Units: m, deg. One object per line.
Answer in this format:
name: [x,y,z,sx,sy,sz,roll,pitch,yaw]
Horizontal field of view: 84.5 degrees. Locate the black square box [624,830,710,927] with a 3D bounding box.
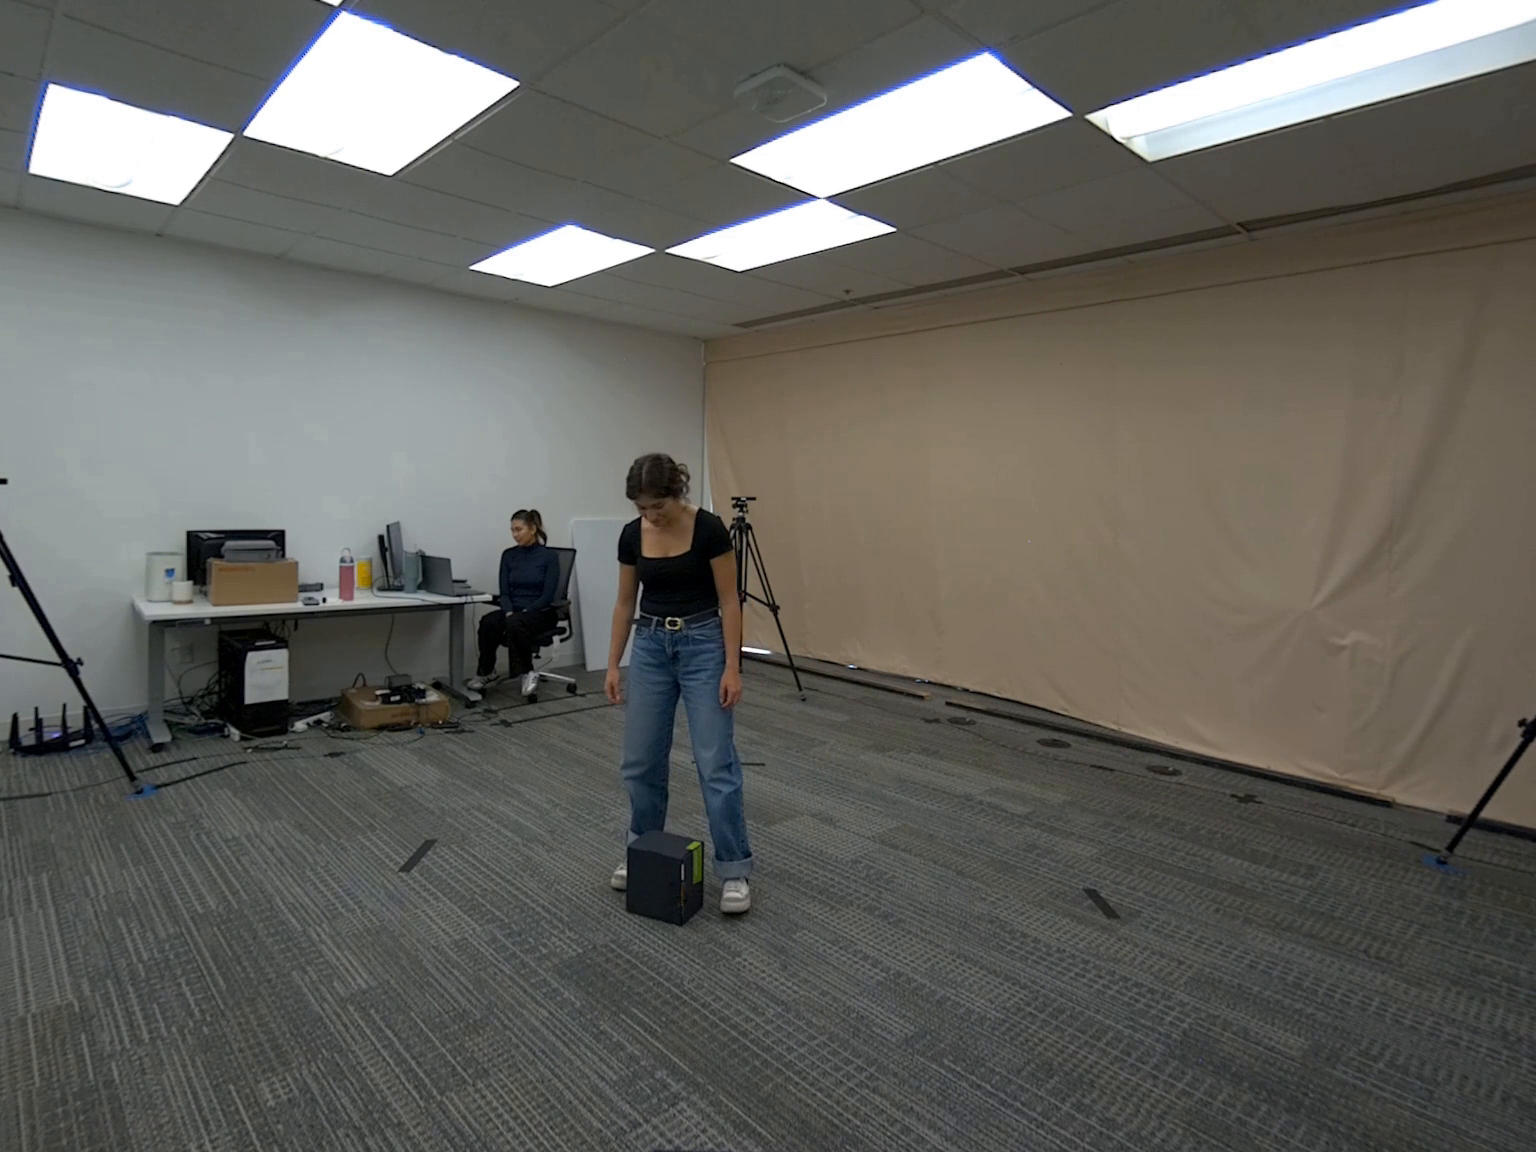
black square box: [-0.349,1.009,2.822,0.221,0.227,0.153,4,4,23]
